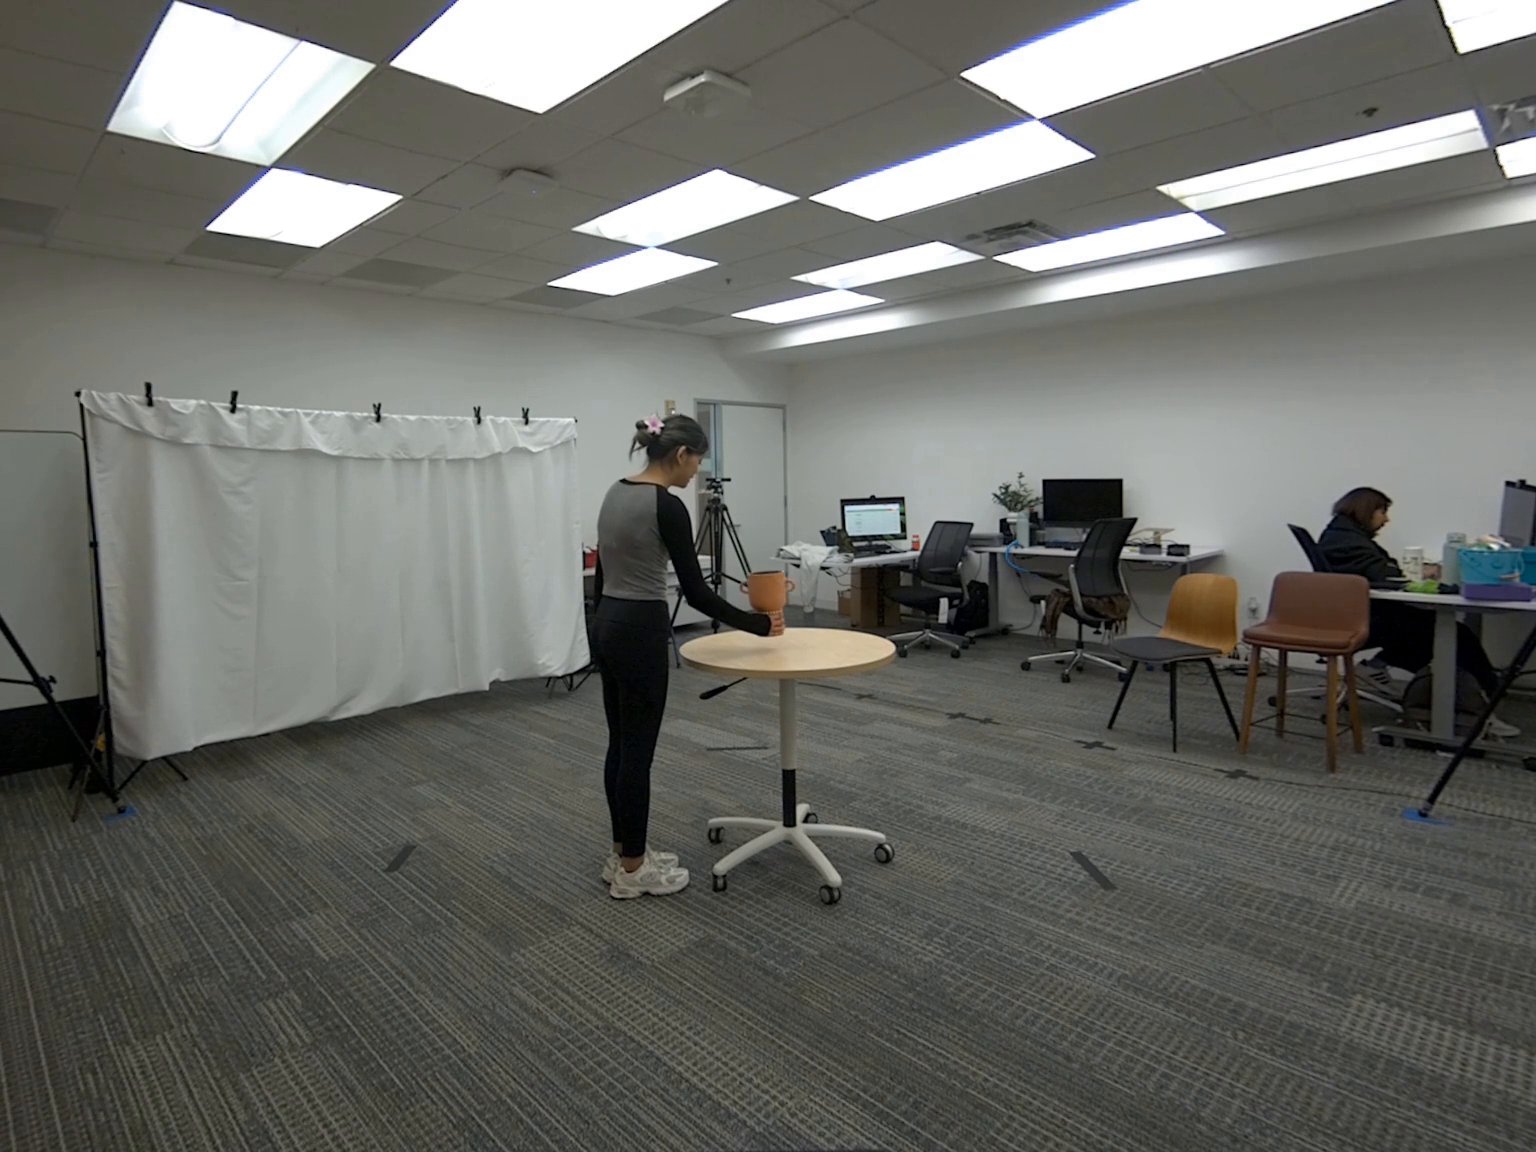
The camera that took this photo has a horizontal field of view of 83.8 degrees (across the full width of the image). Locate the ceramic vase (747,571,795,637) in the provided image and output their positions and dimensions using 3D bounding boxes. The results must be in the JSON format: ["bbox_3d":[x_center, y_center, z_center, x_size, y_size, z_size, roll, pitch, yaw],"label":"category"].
[{"bbox_3d":[0.000,0.097,3.000,0.131,0.219,0.163,-7,5,-39],"label":"ceramic vase"}]
